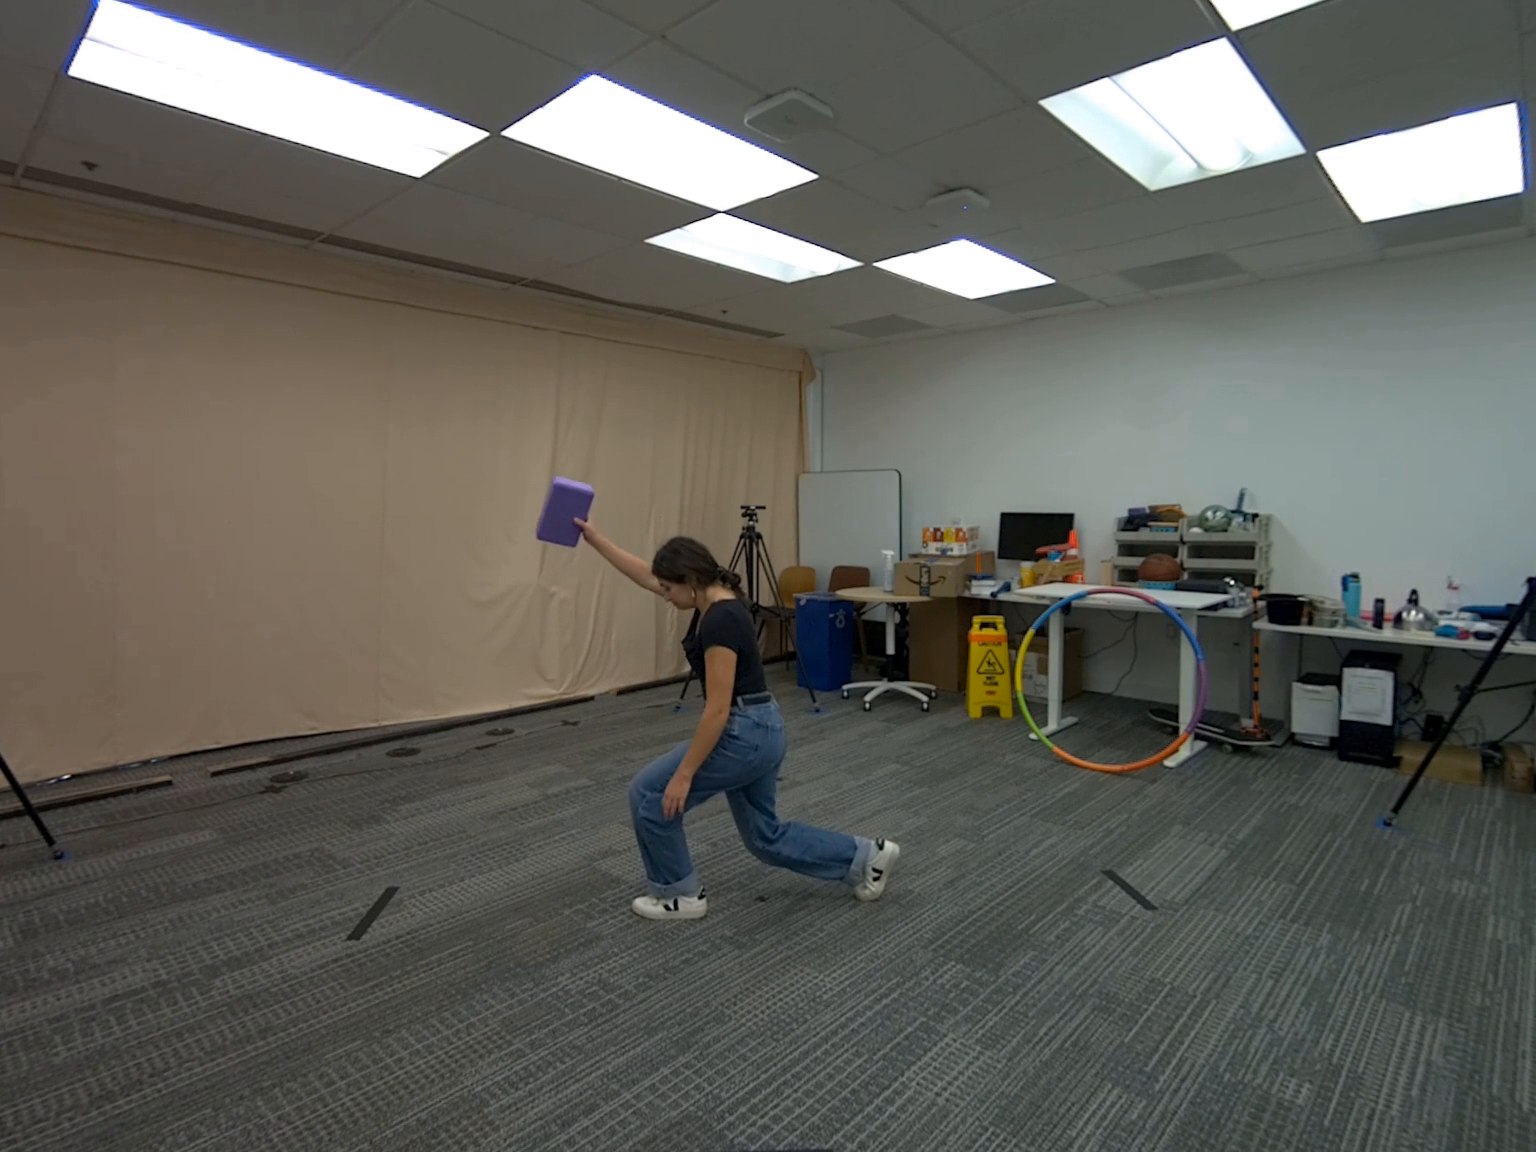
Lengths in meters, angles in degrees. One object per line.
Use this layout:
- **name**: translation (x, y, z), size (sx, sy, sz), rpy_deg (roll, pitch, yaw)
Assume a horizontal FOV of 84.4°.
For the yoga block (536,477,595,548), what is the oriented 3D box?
- **yoga block**: translation (-0.728, -0.220, 3.007), size (0.145, 0.228, 0.078), rpy_deg (15, 23, -22)
